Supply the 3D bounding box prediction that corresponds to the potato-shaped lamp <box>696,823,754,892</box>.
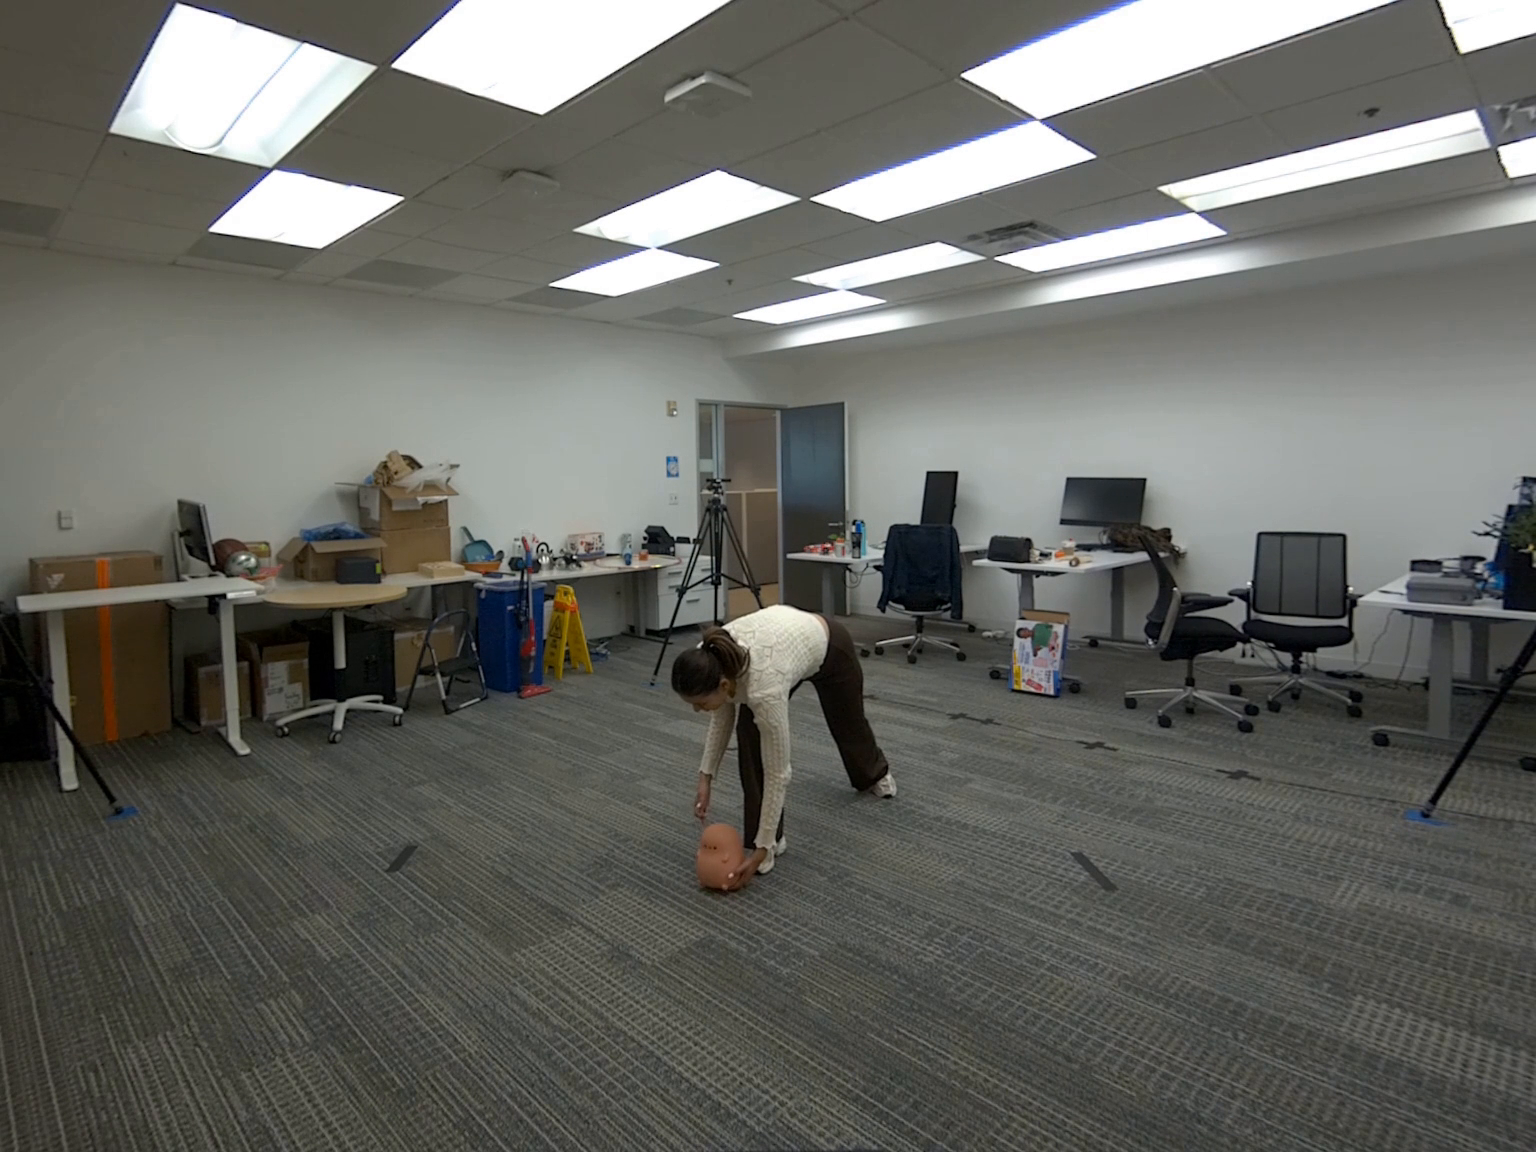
[{"bbox_3d":[-0.164,0.944,2.938,0.168,0.199,0.167,-6,-3,32],"label":"potato-shaped lamp"}]
